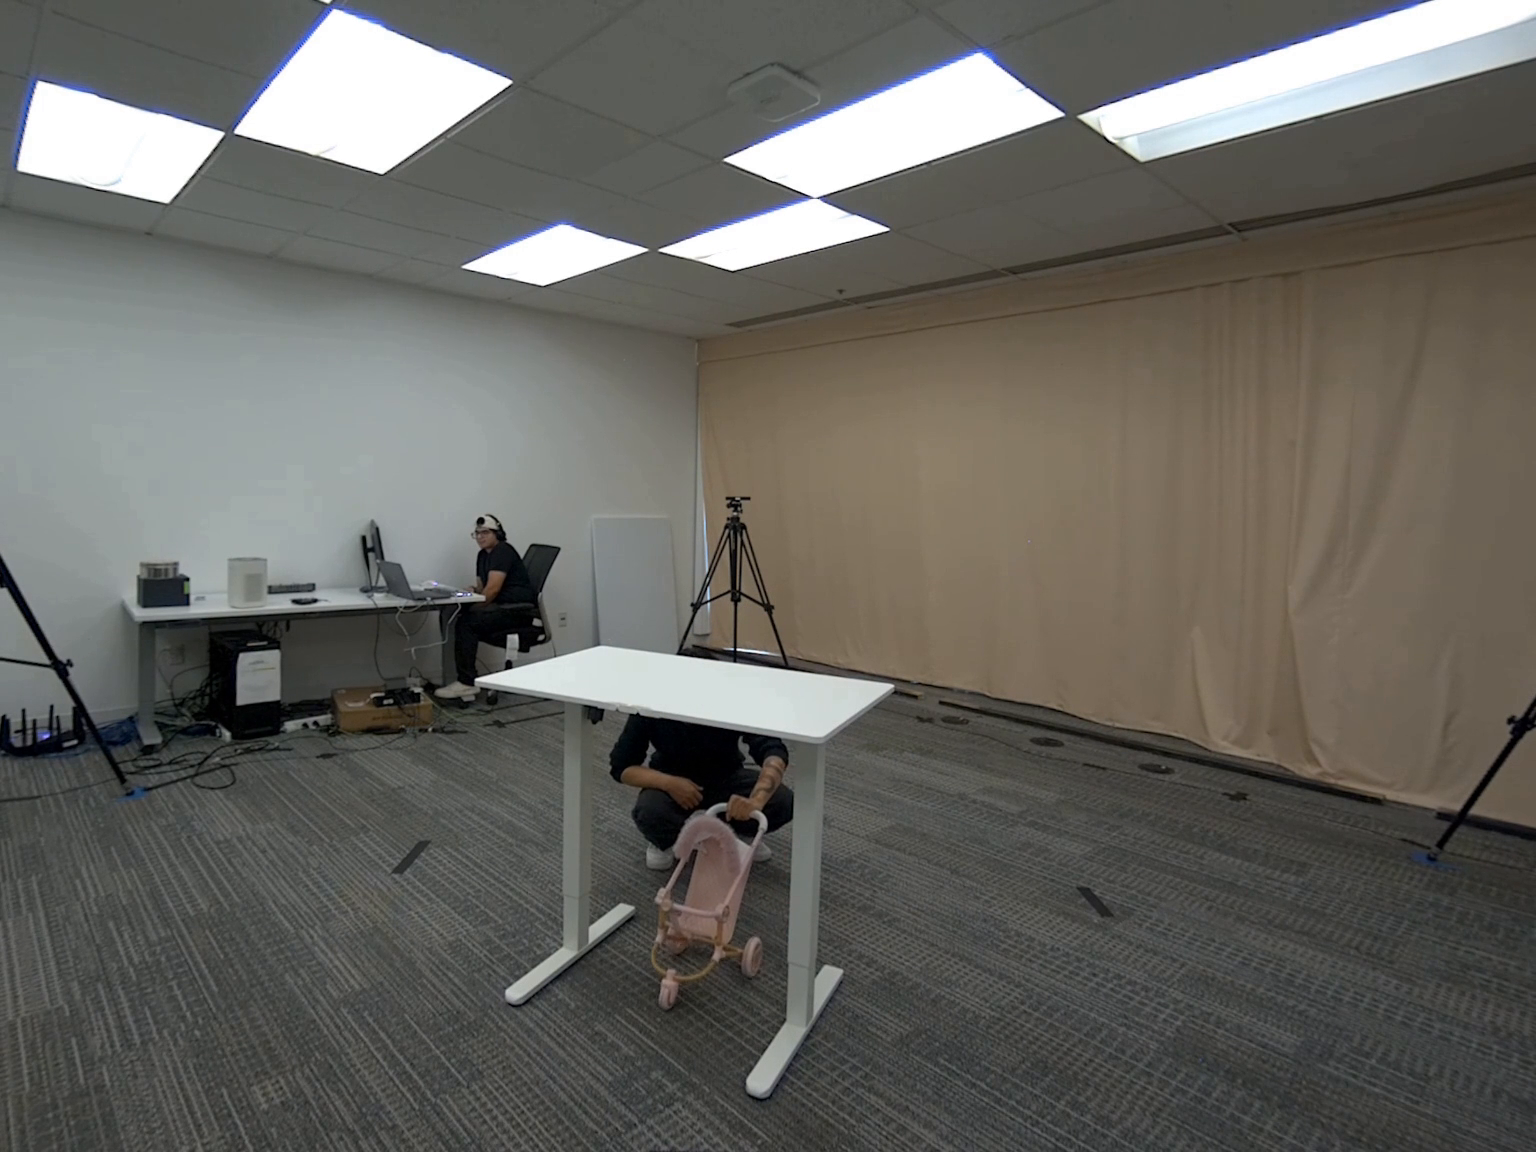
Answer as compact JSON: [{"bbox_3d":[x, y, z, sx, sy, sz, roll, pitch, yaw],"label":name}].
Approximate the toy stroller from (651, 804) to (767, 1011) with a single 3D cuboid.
[{"bbox_3d":[-0.193,0.947,2.446,0.287,0.538,0.331,3,-13,30],"label":"toy stroller"}]
